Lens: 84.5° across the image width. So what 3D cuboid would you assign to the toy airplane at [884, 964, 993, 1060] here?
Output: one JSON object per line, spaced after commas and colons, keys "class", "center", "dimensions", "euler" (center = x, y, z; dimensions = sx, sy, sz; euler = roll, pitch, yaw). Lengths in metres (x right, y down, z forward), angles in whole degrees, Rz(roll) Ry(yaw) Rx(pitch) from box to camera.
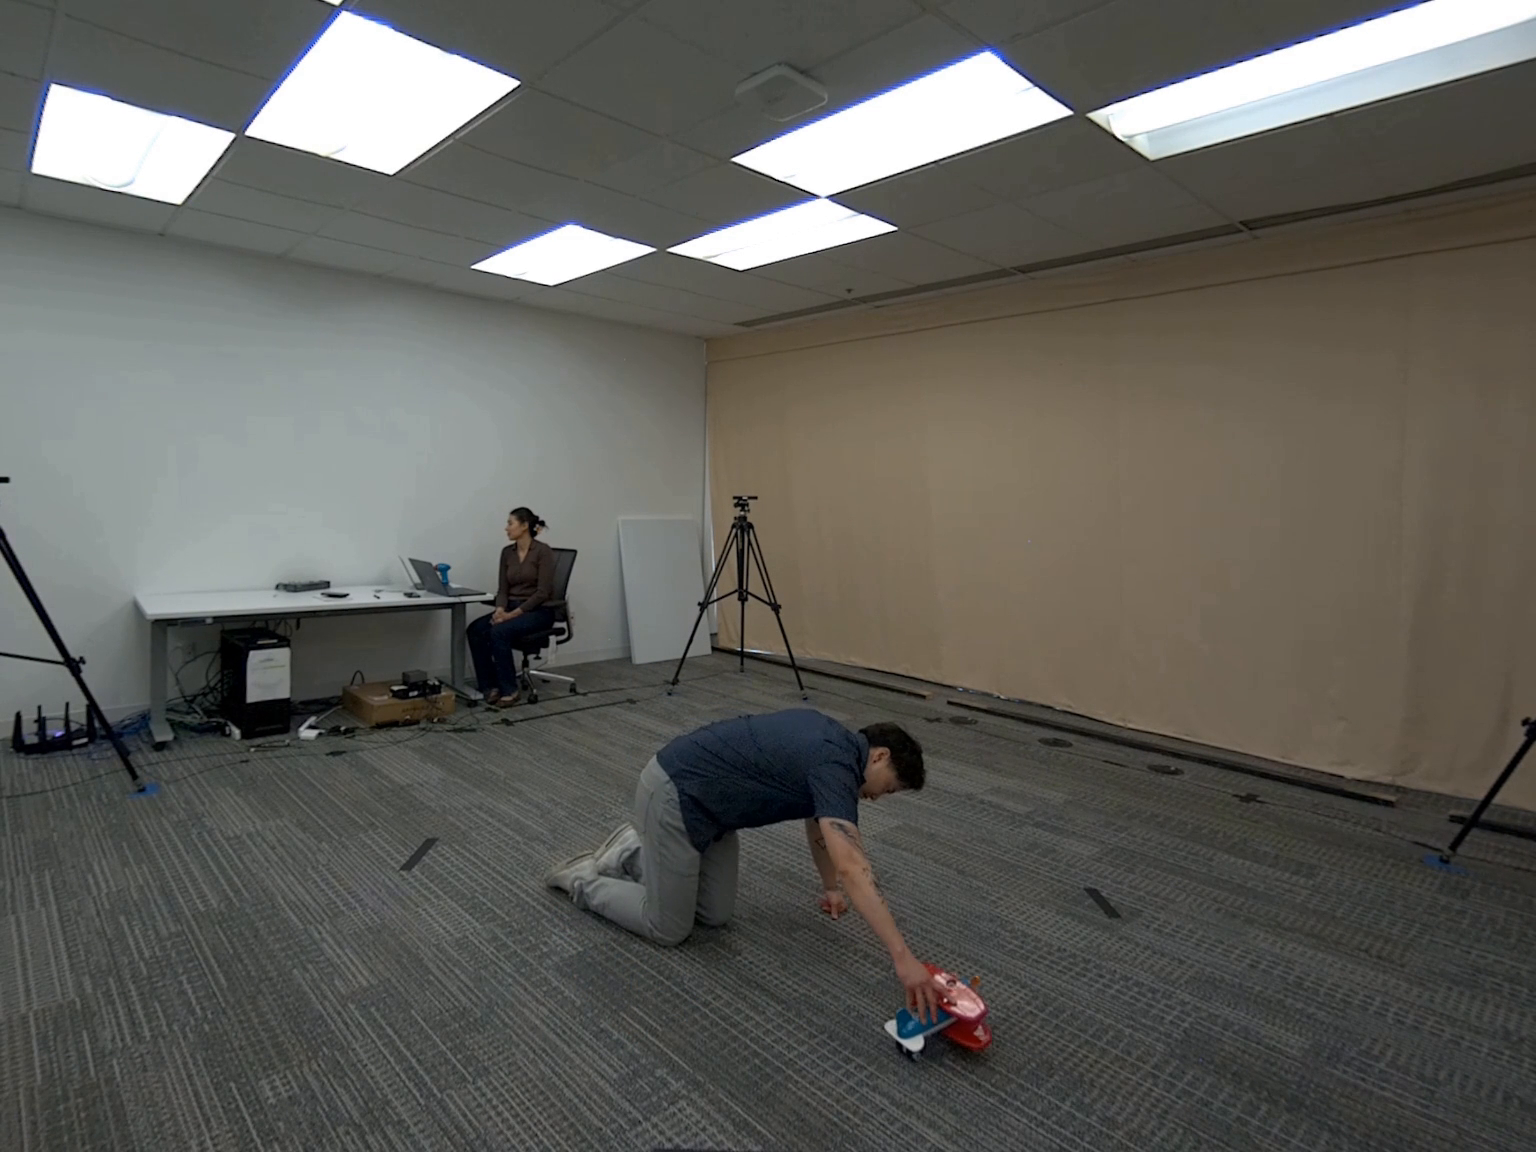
{"class": "toy airplane", "center": [0.437, 1.136, 2.145], "dimensions": [0.257, 0.156, 0.254], "euler": [4, 4, 32]}
